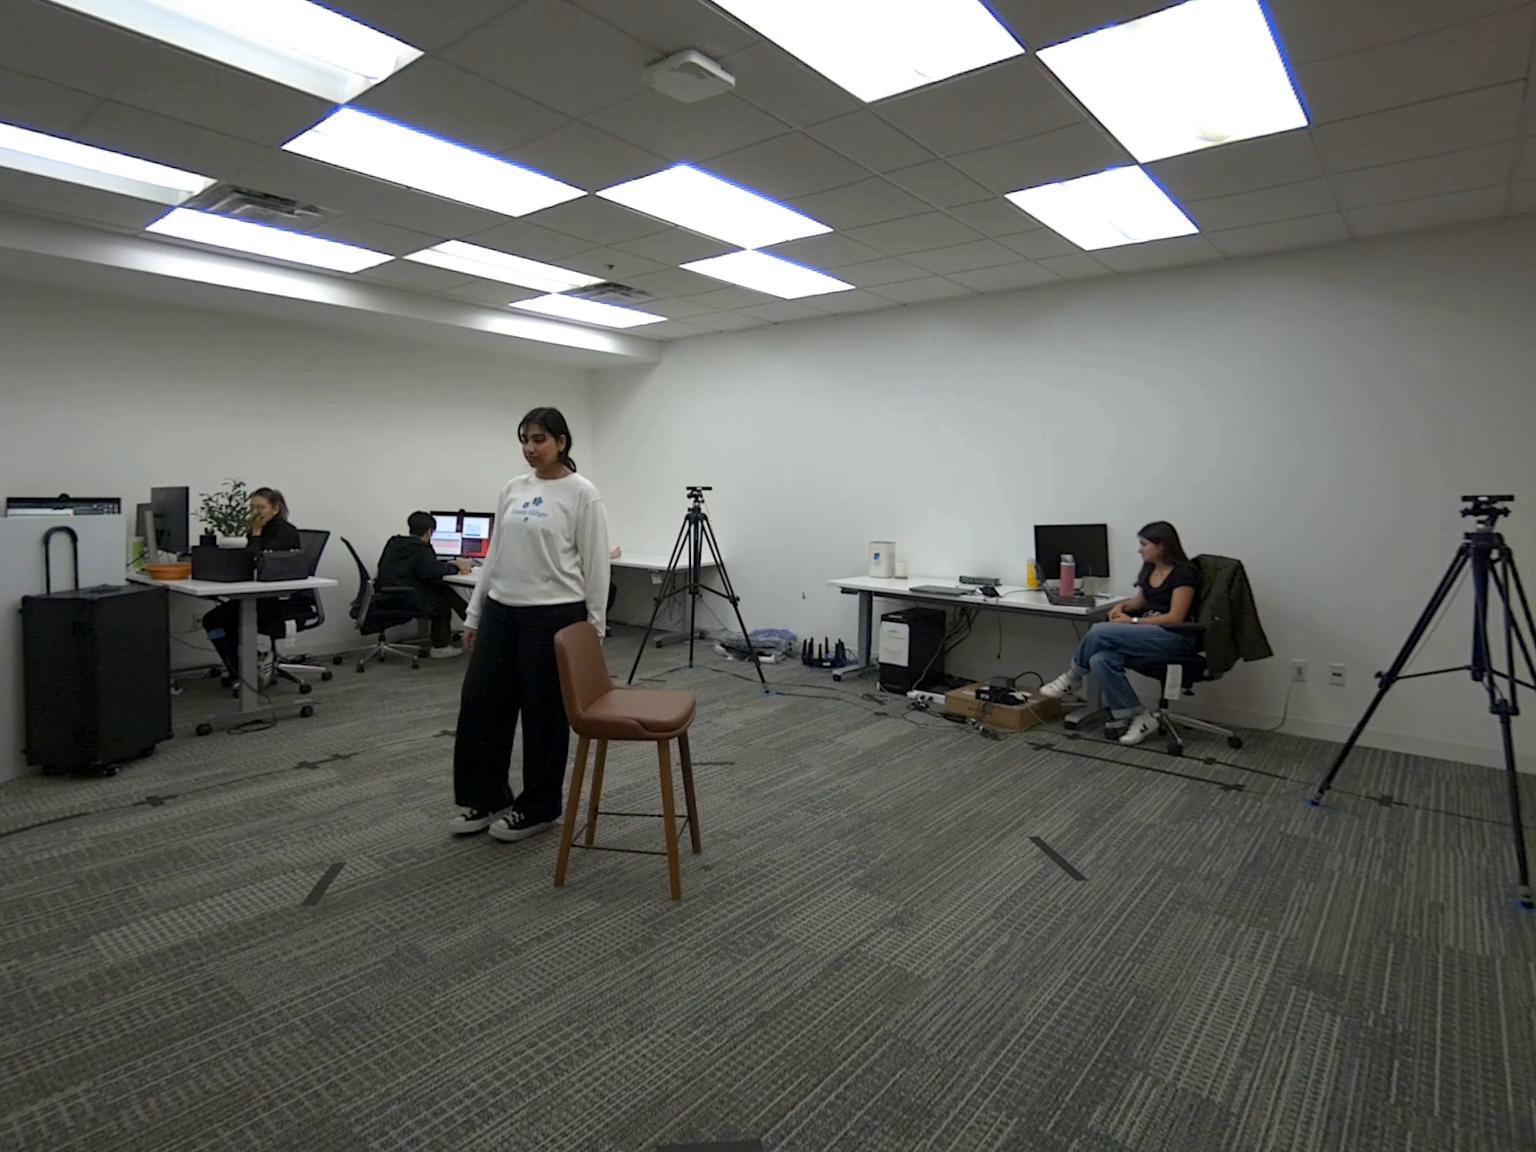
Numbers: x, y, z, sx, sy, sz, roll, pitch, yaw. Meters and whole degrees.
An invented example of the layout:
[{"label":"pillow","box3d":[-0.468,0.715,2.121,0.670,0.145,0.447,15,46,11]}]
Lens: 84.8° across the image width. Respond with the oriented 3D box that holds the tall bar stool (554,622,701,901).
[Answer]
[{"label":"tall bar stool","box3d":[-0.501,0.630,3.065,0.472,0.887,0.453,-1,3,9]}]
